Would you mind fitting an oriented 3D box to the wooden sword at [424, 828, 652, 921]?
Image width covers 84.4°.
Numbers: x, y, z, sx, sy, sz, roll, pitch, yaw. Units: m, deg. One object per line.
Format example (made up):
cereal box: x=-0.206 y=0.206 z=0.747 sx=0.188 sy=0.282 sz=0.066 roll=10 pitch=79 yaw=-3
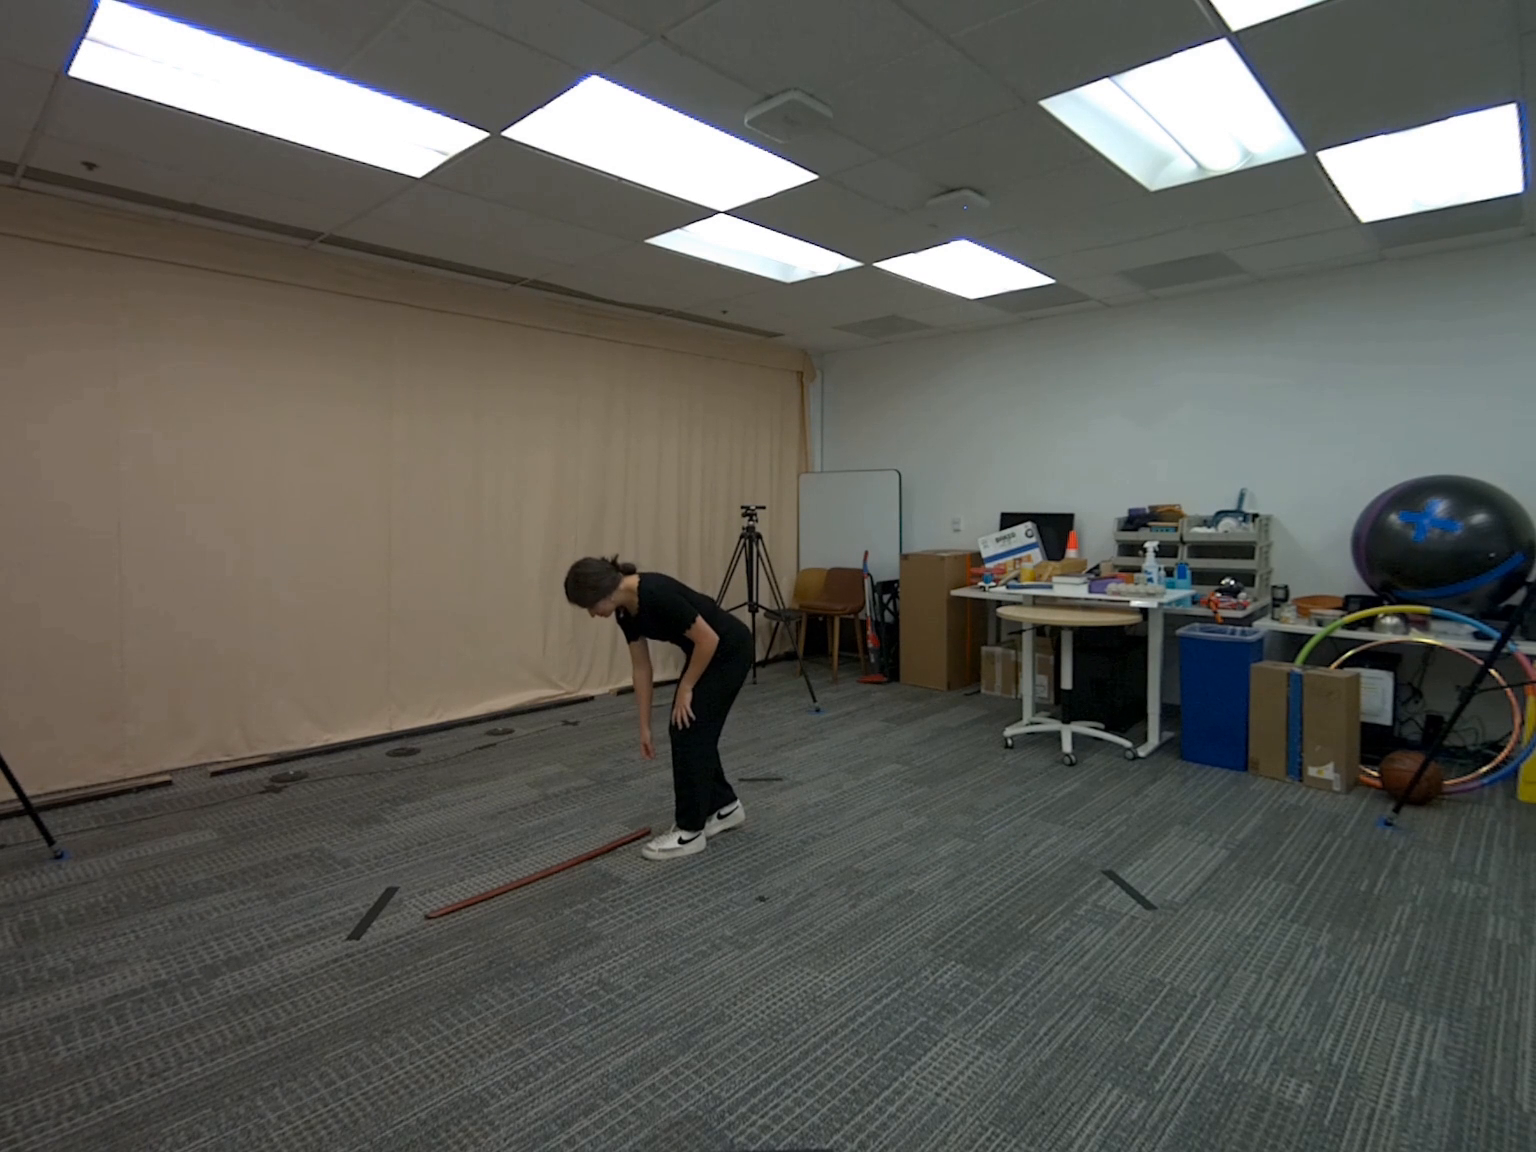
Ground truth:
wooden sword: x=-0.820 y=1.109 z=3.186 sx=0.053 sy=0.024 sz=0.994 roll=29 pitch=23 yaw=37
